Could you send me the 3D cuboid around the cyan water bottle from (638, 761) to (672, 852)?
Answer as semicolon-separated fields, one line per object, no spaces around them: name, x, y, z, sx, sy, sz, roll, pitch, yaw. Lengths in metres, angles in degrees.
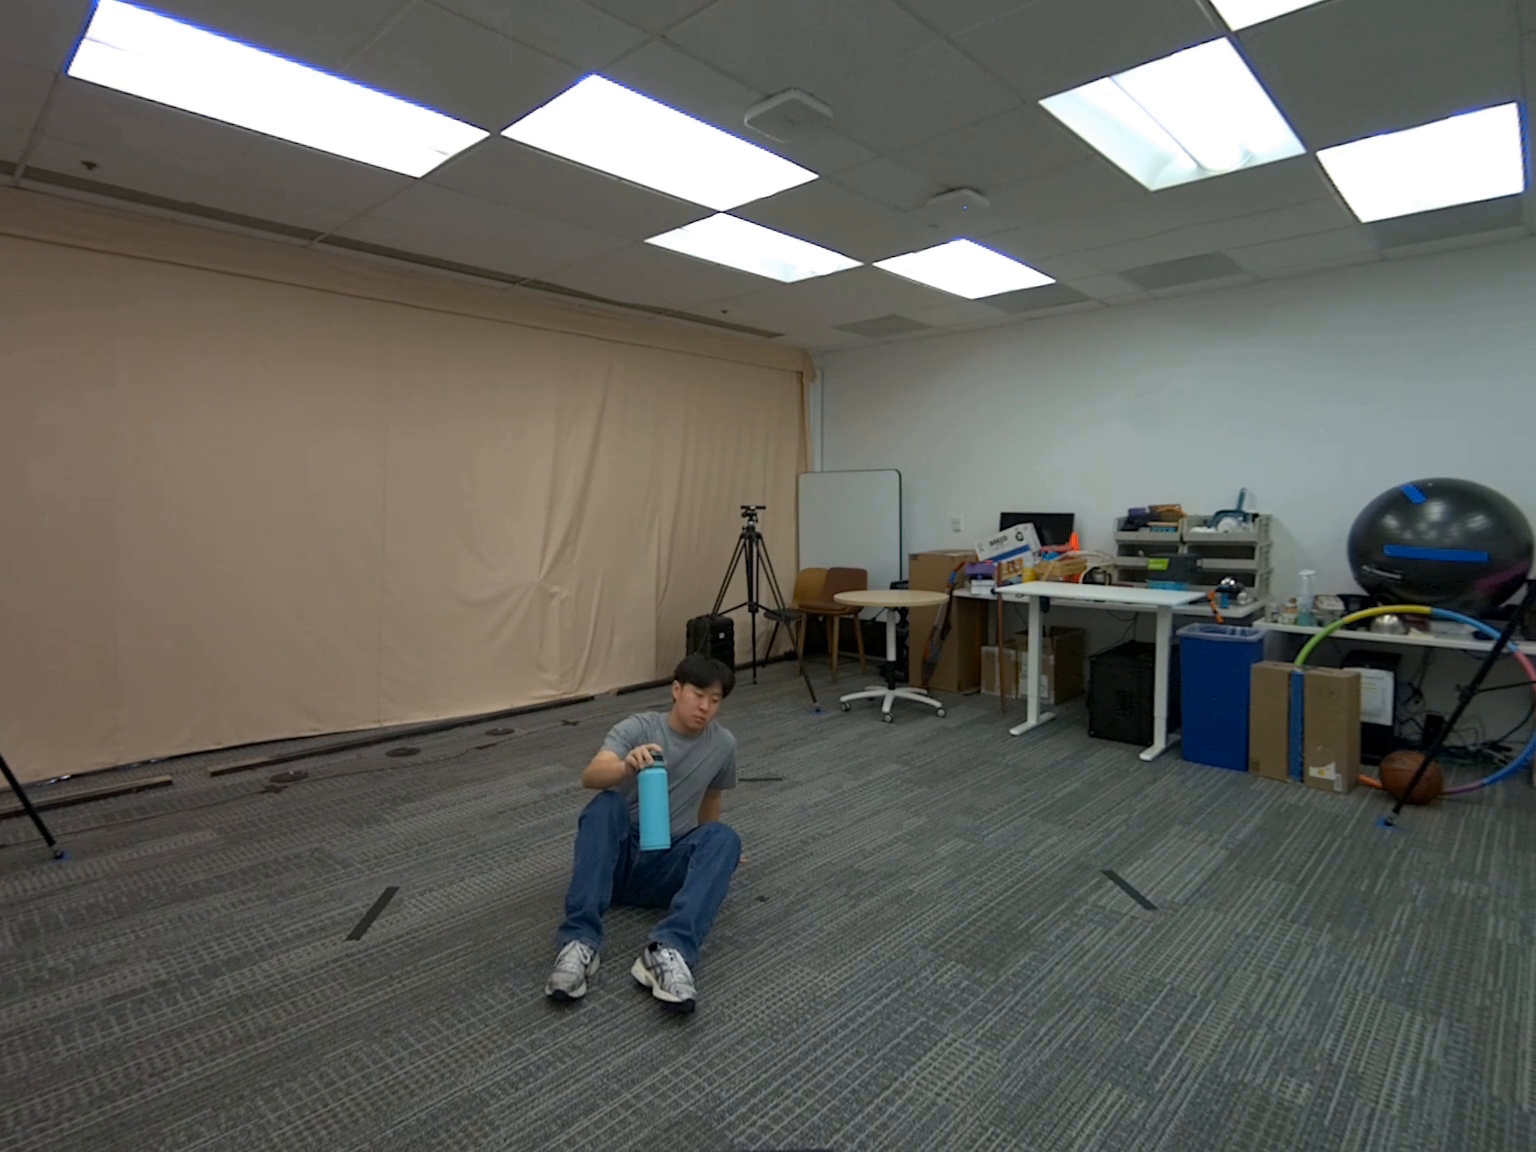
cyan water bottle;-0.344;0.666;2.517;0.092;0.286;0.091;-4;-15;-3
